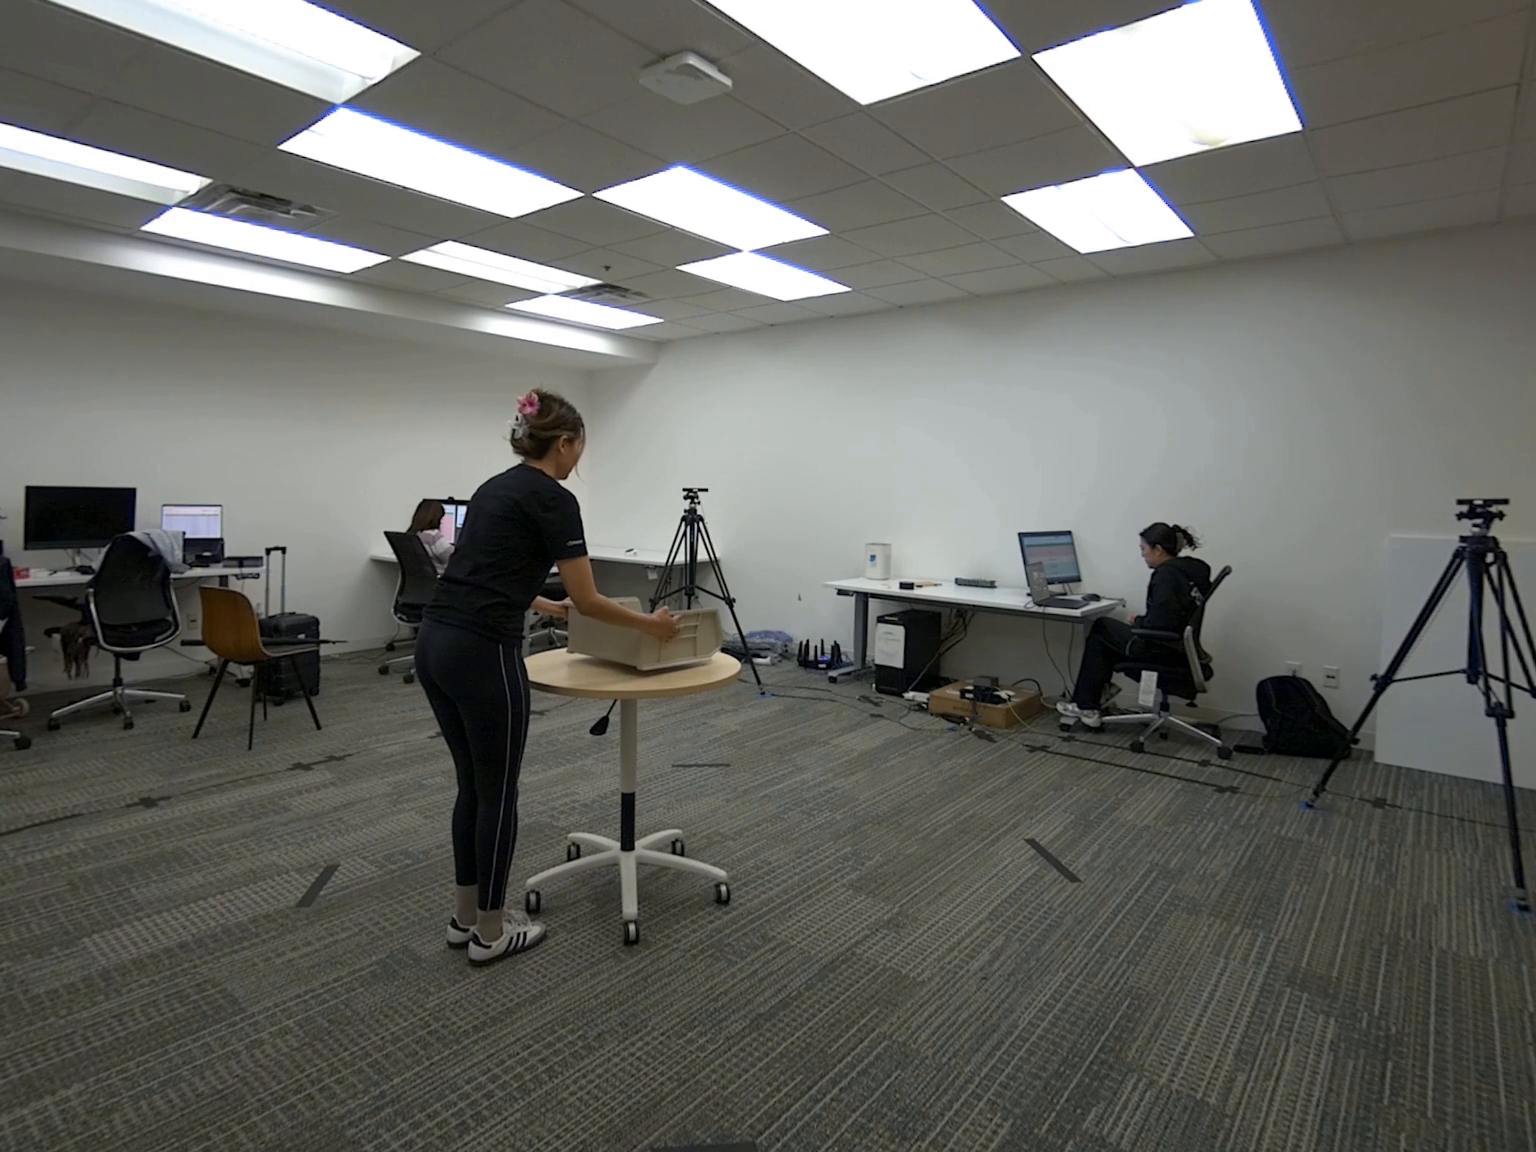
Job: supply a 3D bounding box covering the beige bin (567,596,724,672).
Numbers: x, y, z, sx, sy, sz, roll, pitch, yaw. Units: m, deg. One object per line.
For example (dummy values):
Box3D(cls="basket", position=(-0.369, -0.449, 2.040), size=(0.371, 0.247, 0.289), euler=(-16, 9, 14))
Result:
Box3D(cls="beige bin", position=(-0.443, 0.187, 2.953), size=(0.437, 0.188, 0.366), euler=(6, 6, 41))
